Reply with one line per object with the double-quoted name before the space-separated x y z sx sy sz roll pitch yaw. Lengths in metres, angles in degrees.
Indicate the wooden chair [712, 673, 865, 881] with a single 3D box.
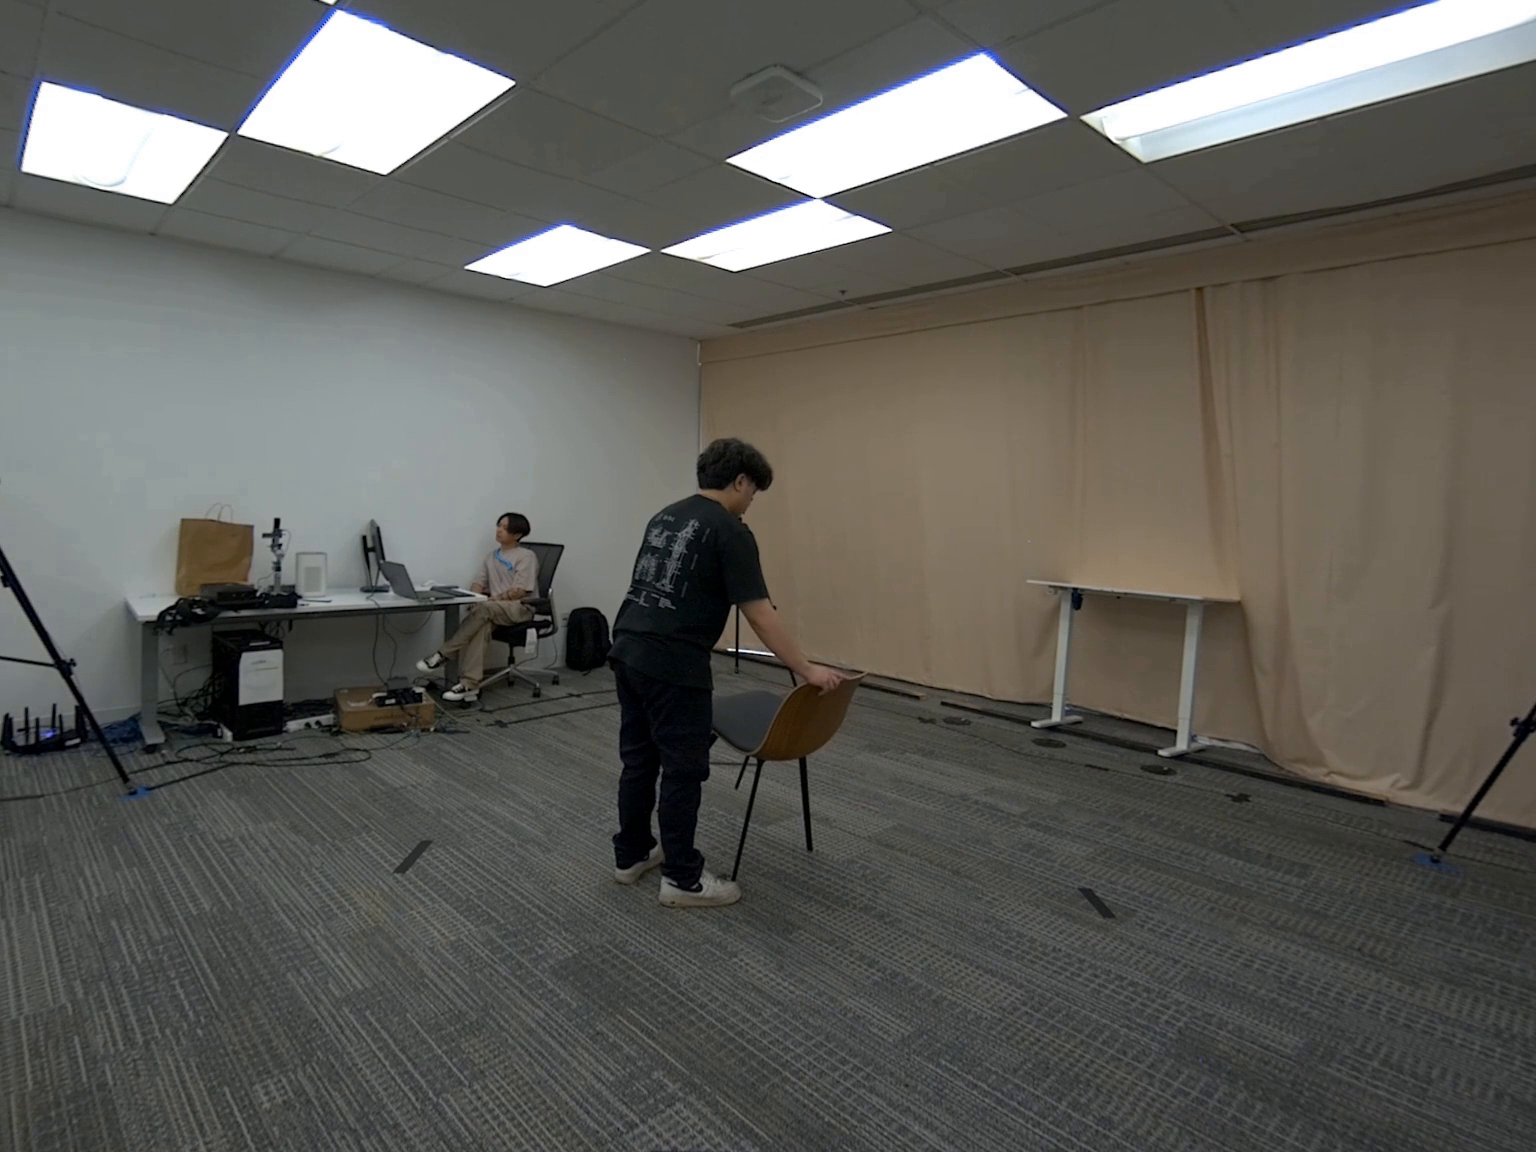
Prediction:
"wooden chair" -0.028 0.620 3.223 0.467 0.870 0.540 -3 30 -46
